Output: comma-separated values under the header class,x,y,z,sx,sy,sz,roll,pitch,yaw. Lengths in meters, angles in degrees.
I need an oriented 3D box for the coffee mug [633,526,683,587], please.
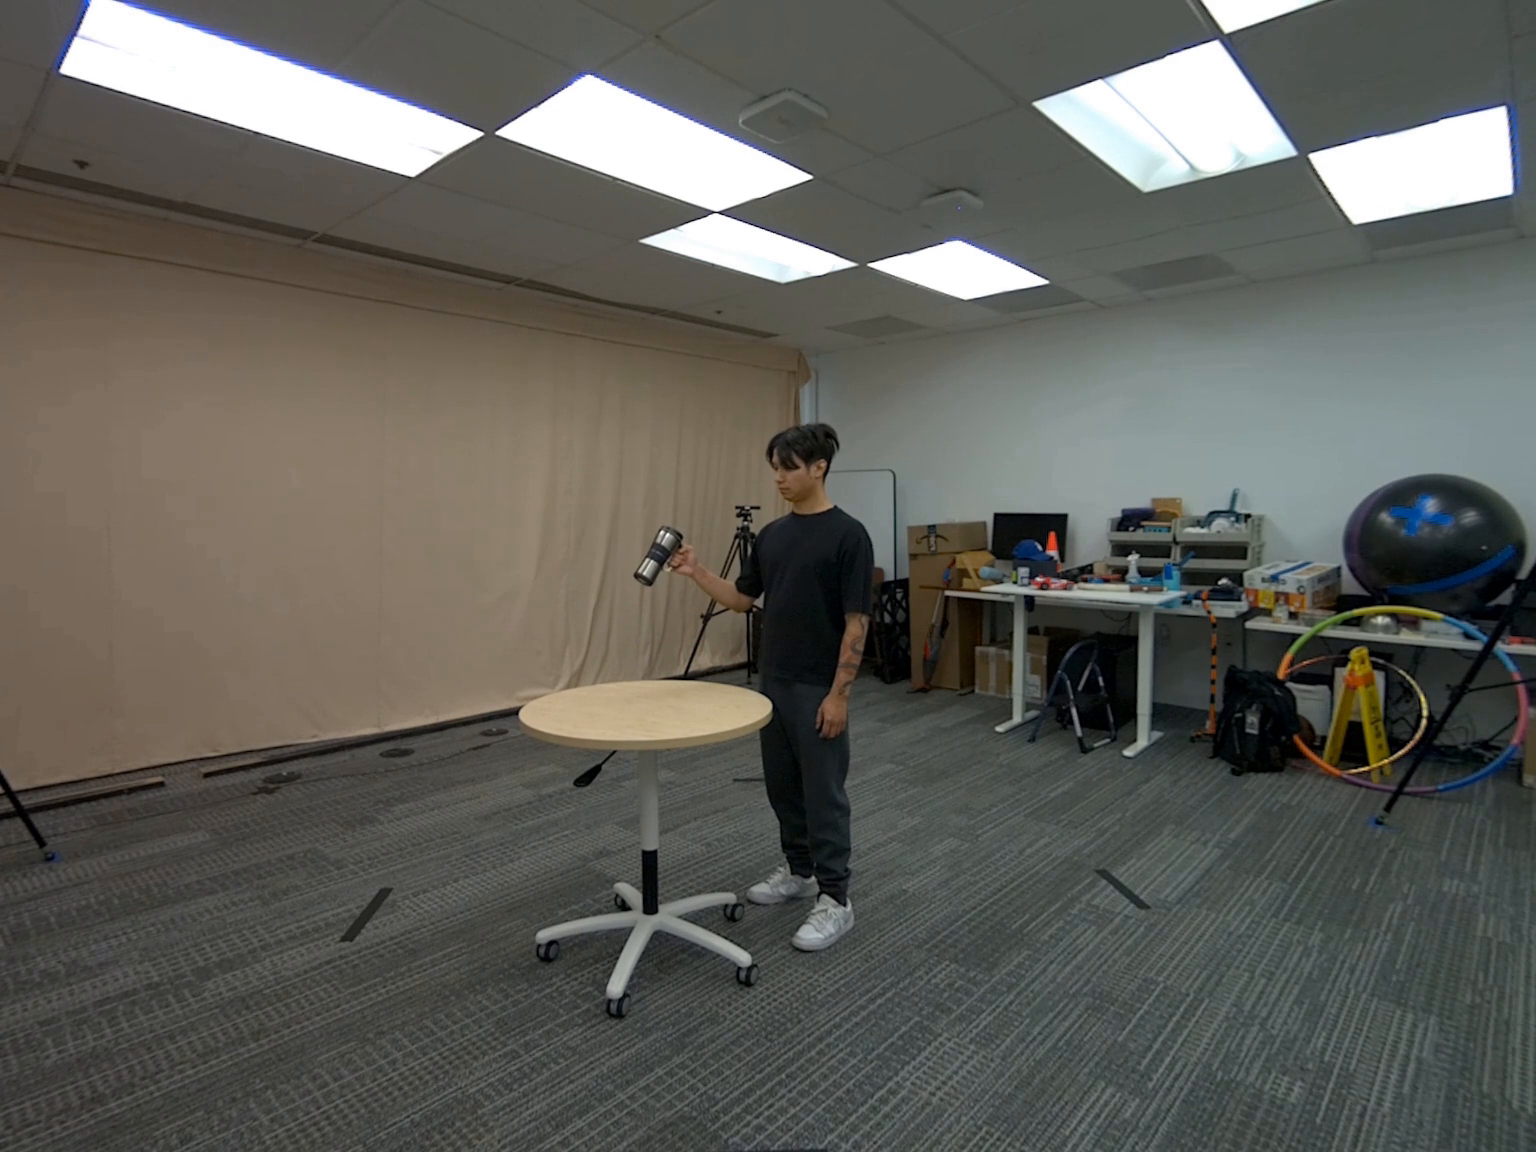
class,x,y,z,sx,sy,sz,roll,pitch,yaw
coffee mug,-0.364,-0.065,2.836,0.085,0.203,0.126,41,-21,-30
